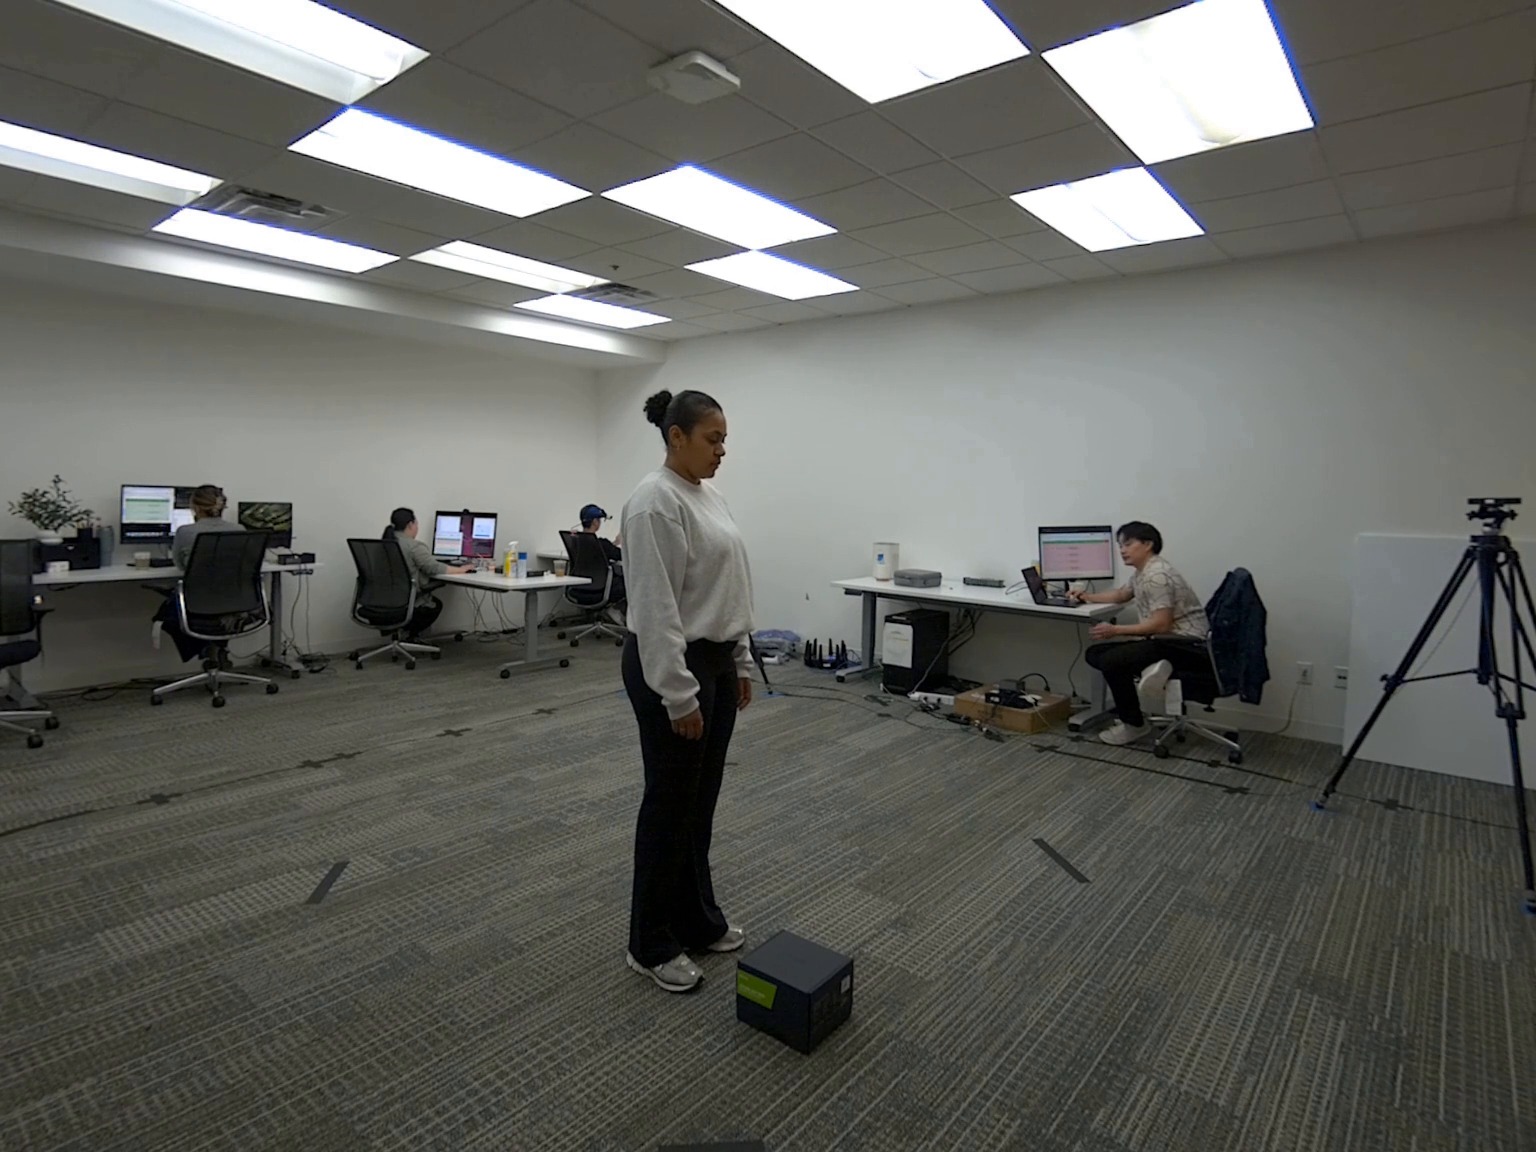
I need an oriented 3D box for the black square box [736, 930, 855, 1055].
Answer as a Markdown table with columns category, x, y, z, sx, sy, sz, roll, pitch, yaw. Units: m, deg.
| category | x | y | z | sx | sy | sz | roll | pitch | yaw |
| --- | --- | --- | --- | --- | --- | --- | --- | --- | --- |
| black square box | 0.062 | 1.076 | 2.239 | 0.235 | 0.155 | 0.211 | 5 | 7 | 36 |
